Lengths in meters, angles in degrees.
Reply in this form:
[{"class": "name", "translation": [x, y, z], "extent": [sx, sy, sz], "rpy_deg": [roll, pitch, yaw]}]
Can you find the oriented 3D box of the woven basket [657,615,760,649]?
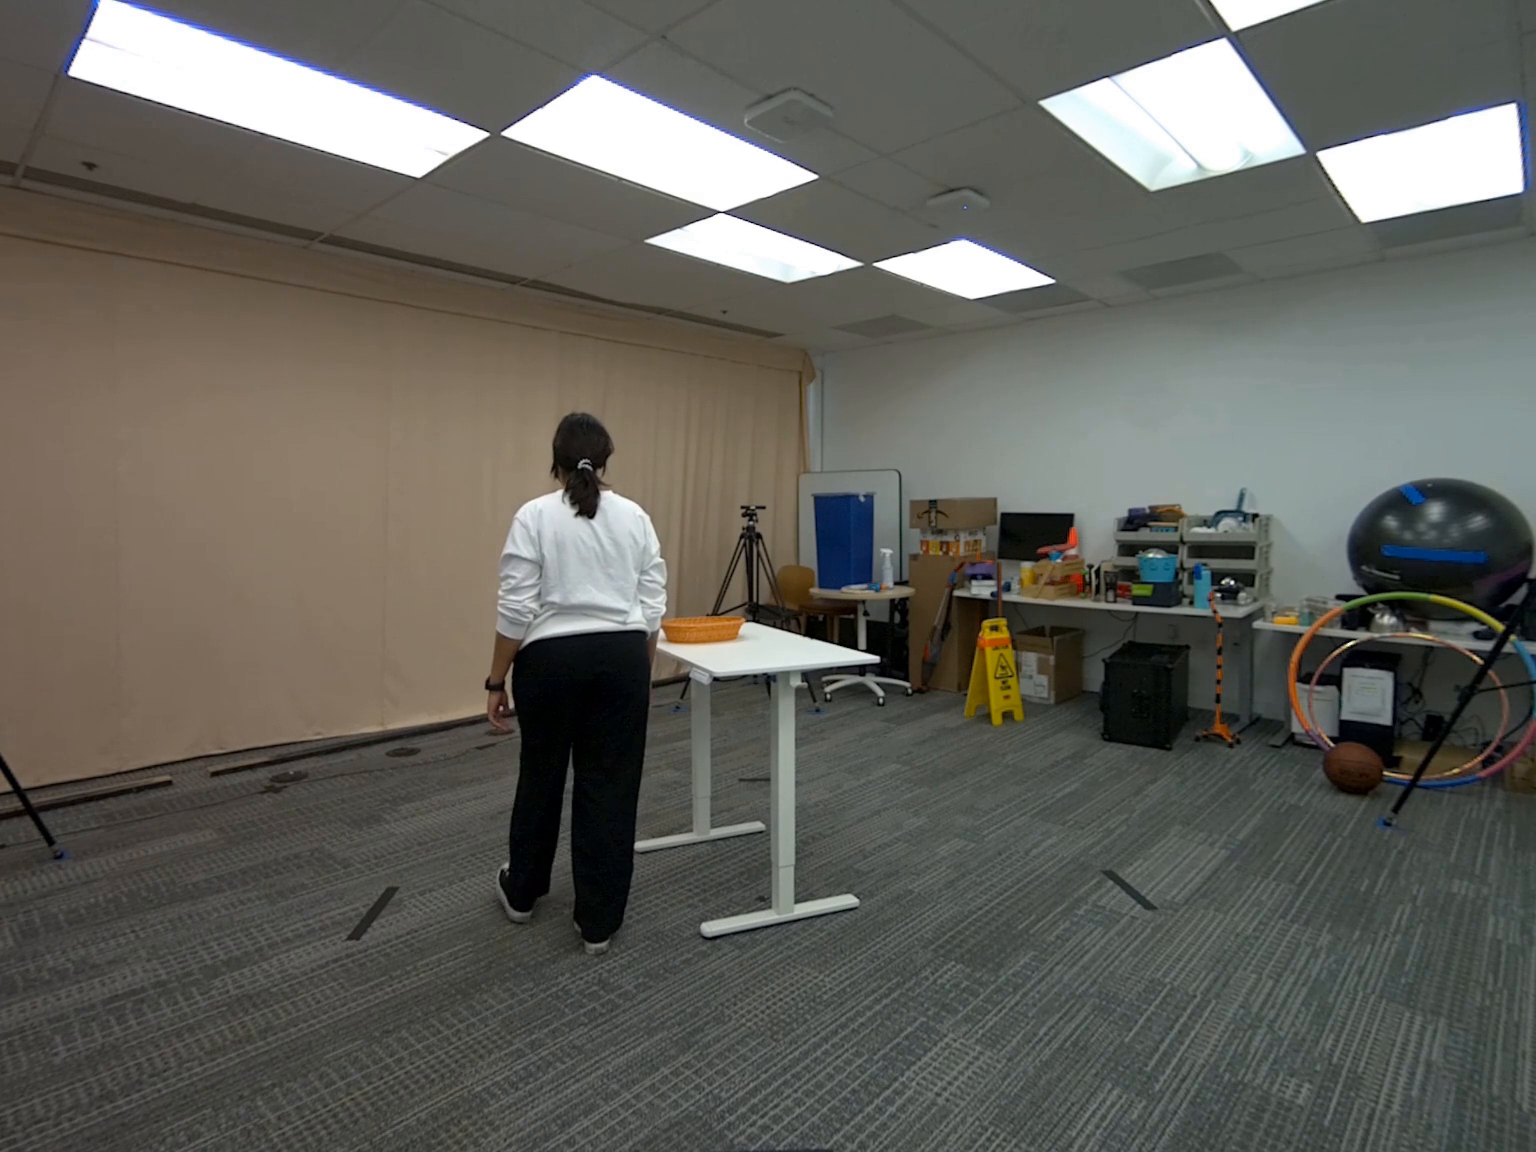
[{"class": "woven basket", "translation": [-0.249, 0.209, 3.230], "extent": [0.341, 0.073, 0.260], "rpy_deg": [-3, 5, -32]}]
